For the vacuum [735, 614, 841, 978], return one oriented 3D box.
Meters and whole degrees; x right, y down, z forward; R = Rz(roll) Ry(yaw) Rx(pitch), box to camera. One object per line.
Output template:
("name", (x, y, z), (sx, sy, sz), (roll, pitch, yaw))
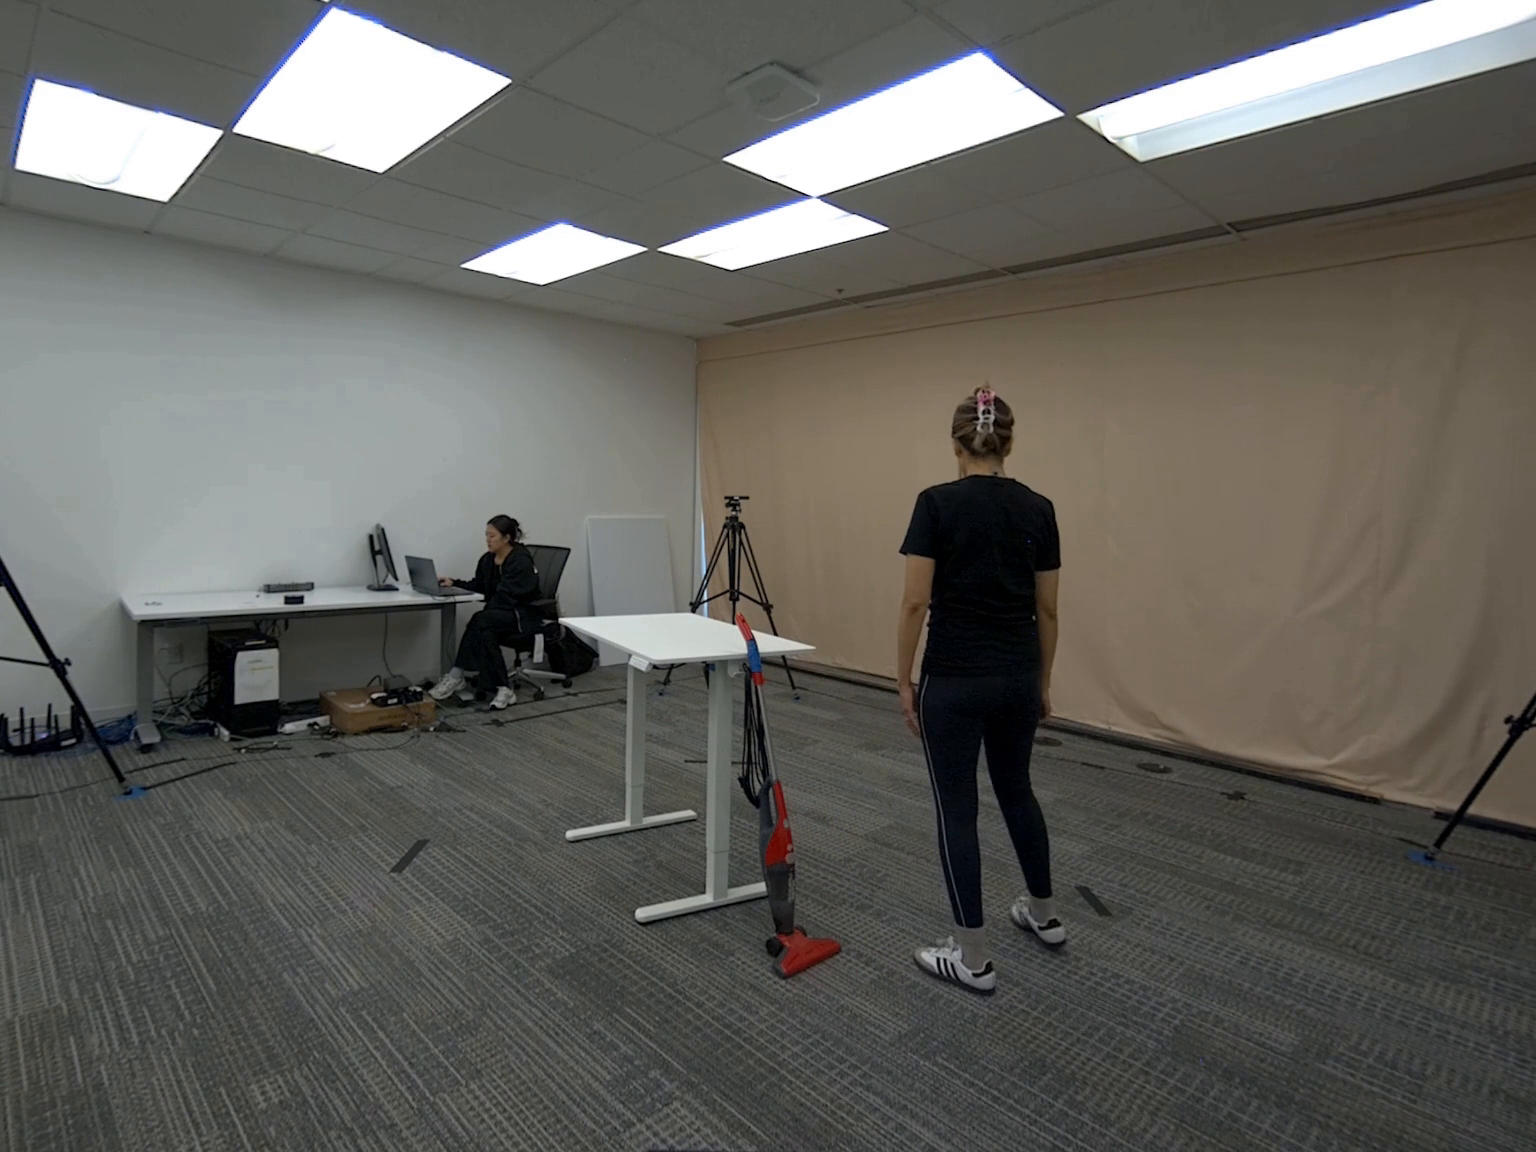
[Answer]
("vacuum", (-0.002, 0.653, 2.666), (0.146, 1.060, 0.246), (-21, -15, 42))
